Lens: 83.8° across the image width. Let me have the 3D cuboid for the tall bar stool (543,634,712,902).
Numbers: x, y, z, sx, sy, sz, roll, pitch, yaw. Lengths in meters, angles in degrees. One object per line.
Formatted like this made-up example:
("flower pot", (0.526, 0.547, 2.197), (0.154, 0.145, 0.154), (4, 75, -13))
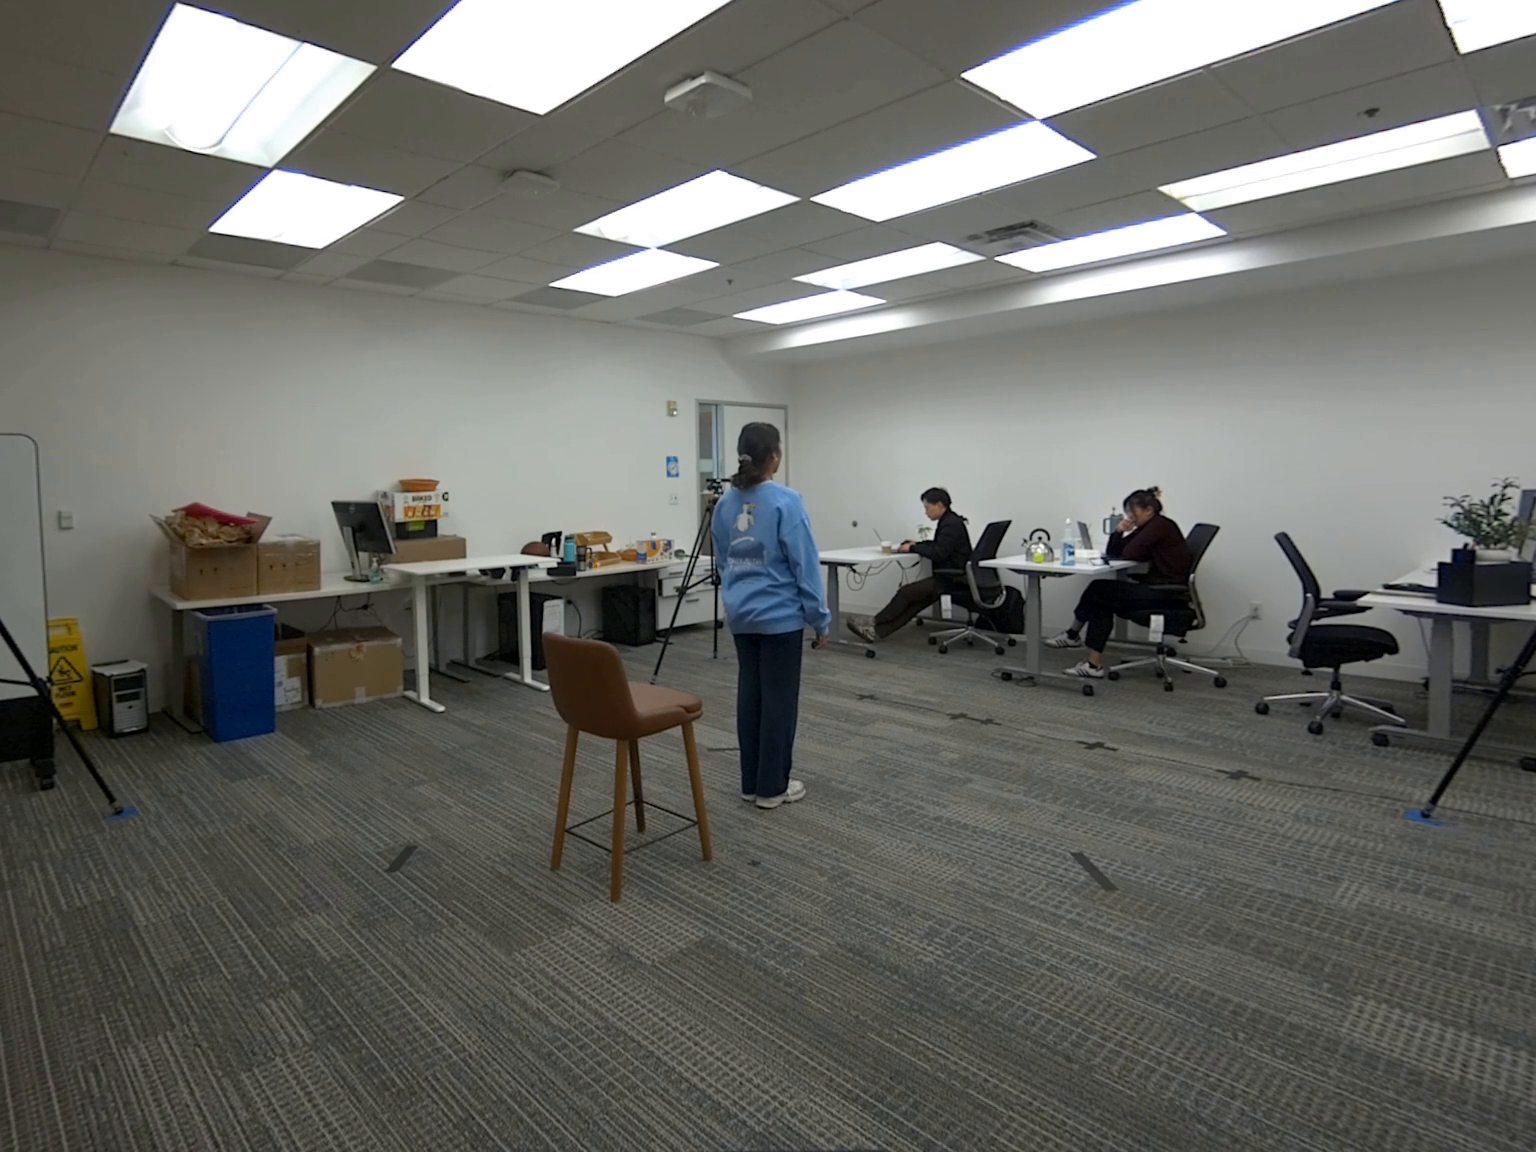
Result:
("tall bar stool", (-0.515, 0.617, 3.090), (0.470, 0.885, 0.456), (3, 8, 43))
